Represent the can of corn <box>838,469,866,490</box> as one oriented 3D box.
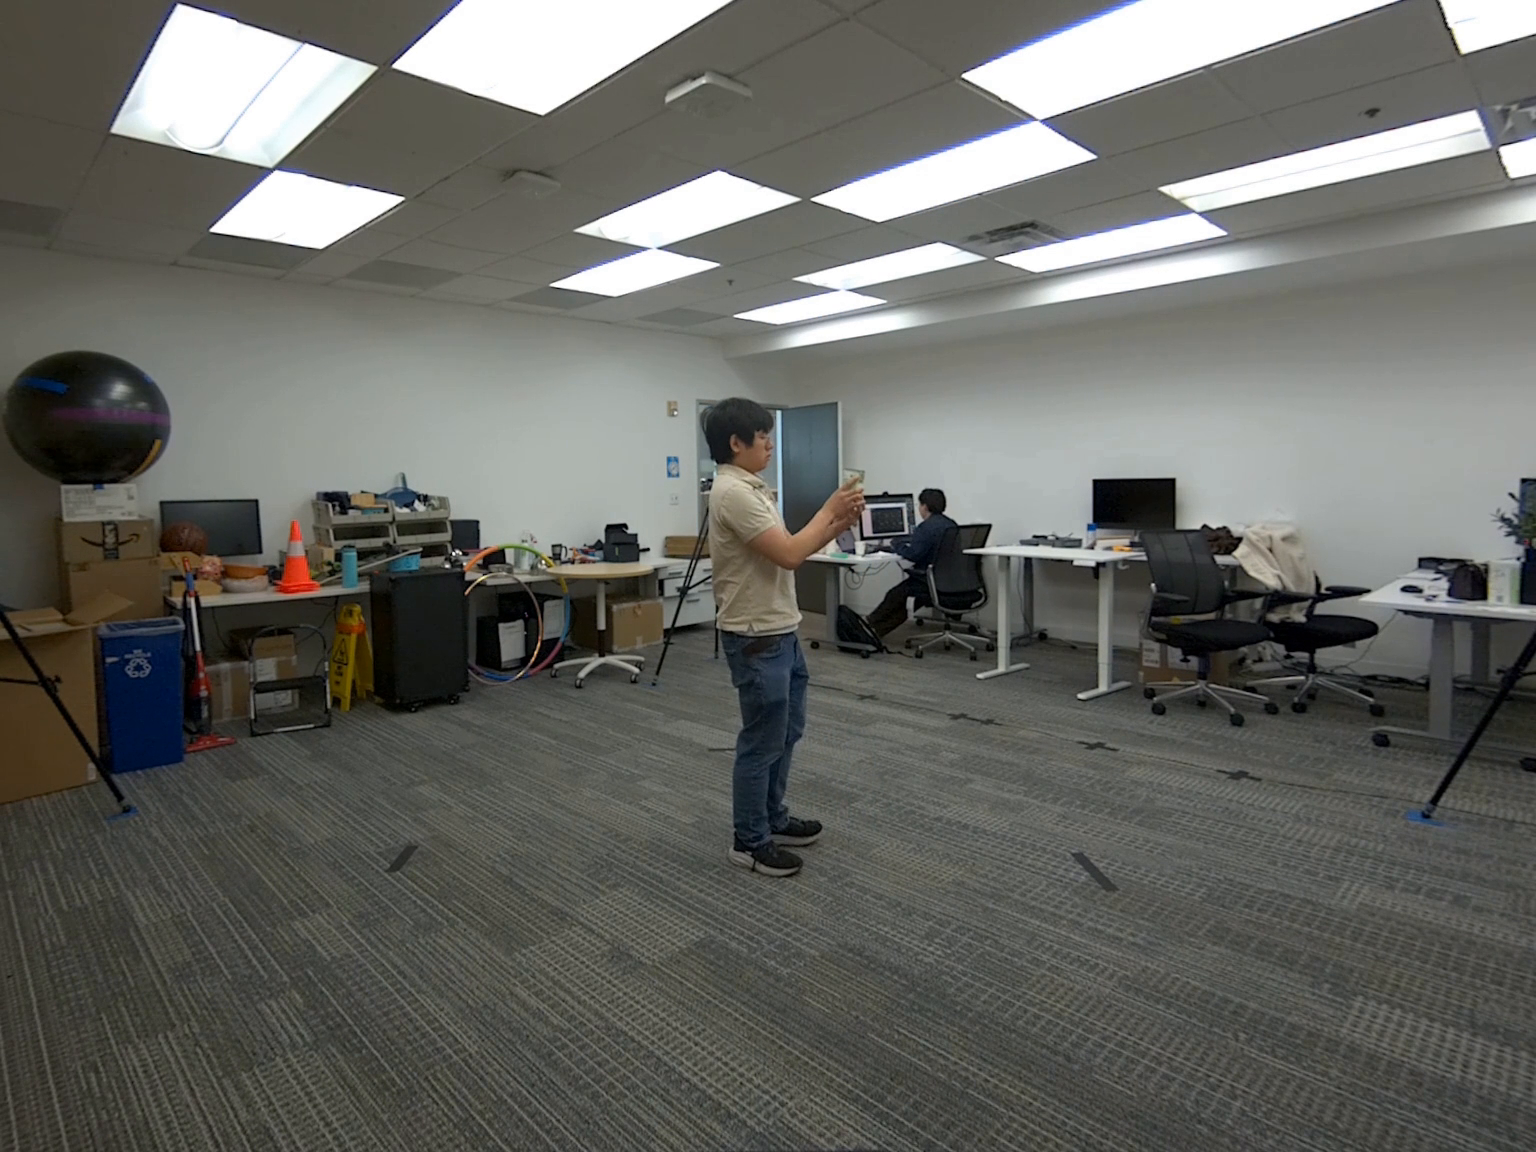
[{"bbox_3d":[0.288,-0.316,3.008,0.074,0.110,0.075,8,6,-3],"label":"can of corn"}]
